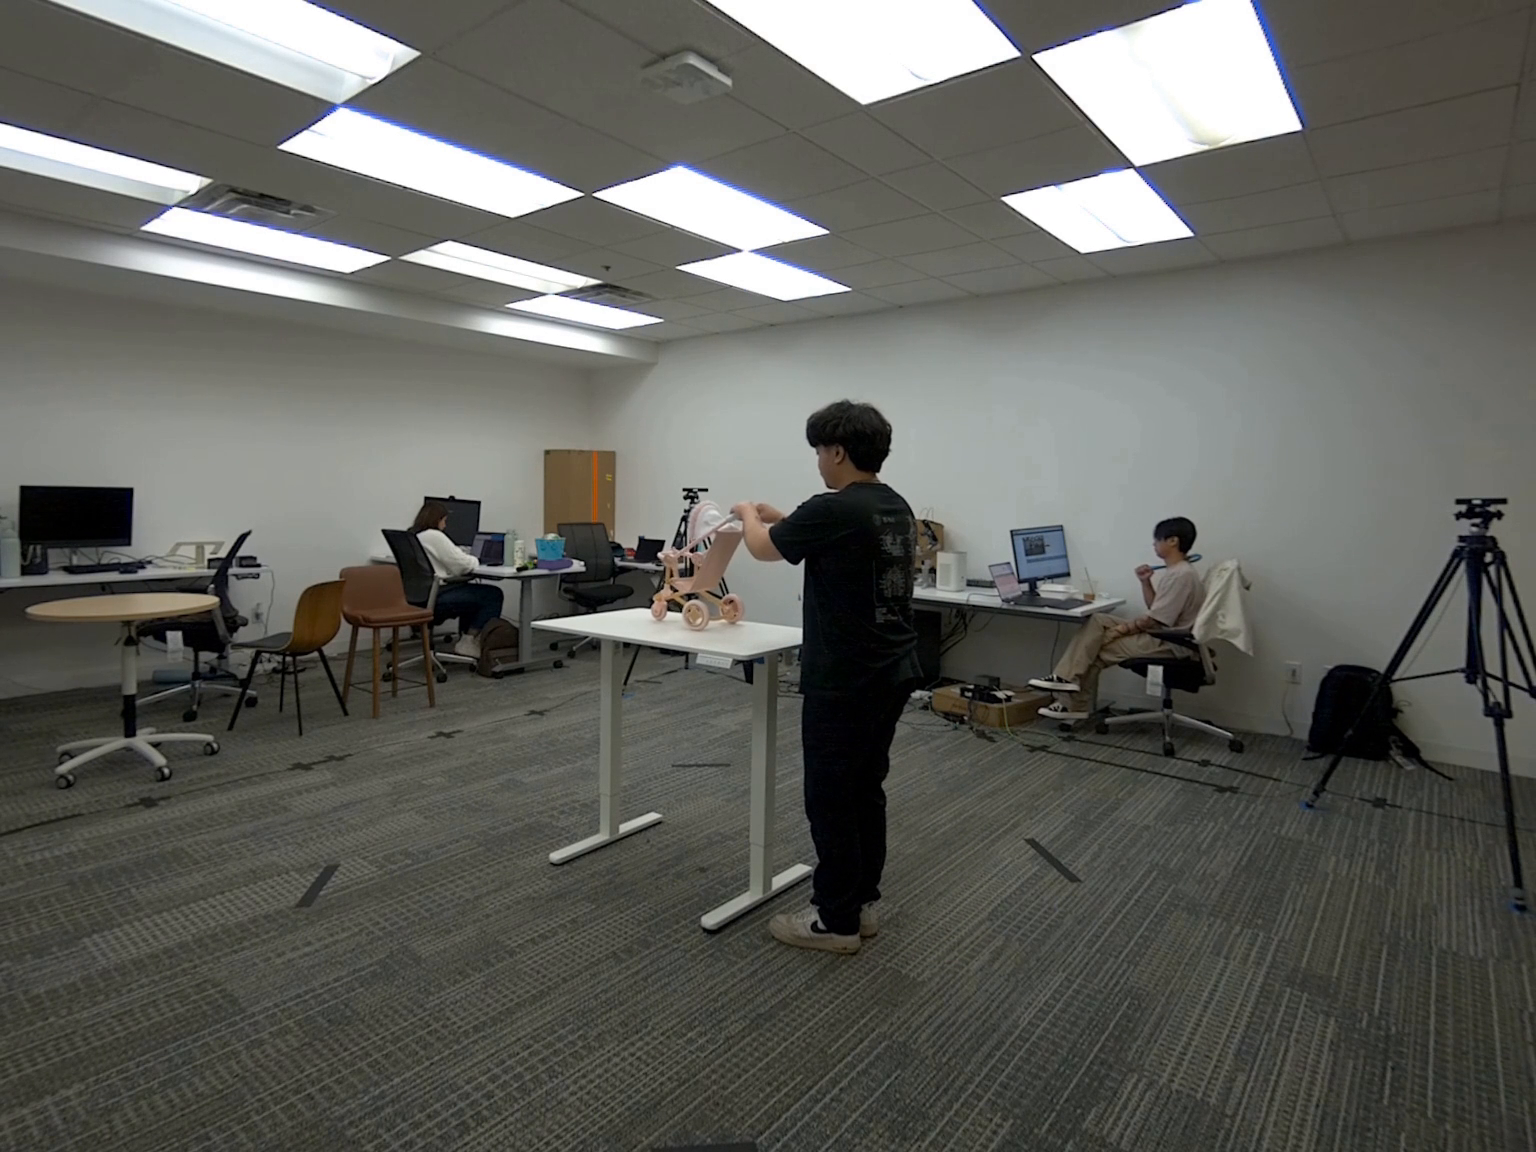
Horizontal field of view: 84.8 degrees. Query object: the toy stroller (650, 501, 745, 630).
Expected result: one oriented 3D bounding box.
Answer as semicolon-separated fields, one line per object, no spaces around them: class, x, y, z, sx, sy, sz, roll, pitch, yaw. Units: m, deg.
toy stroller;-0.253;-0.042;3.158;0.354;0.531;0.273;21;13;33
